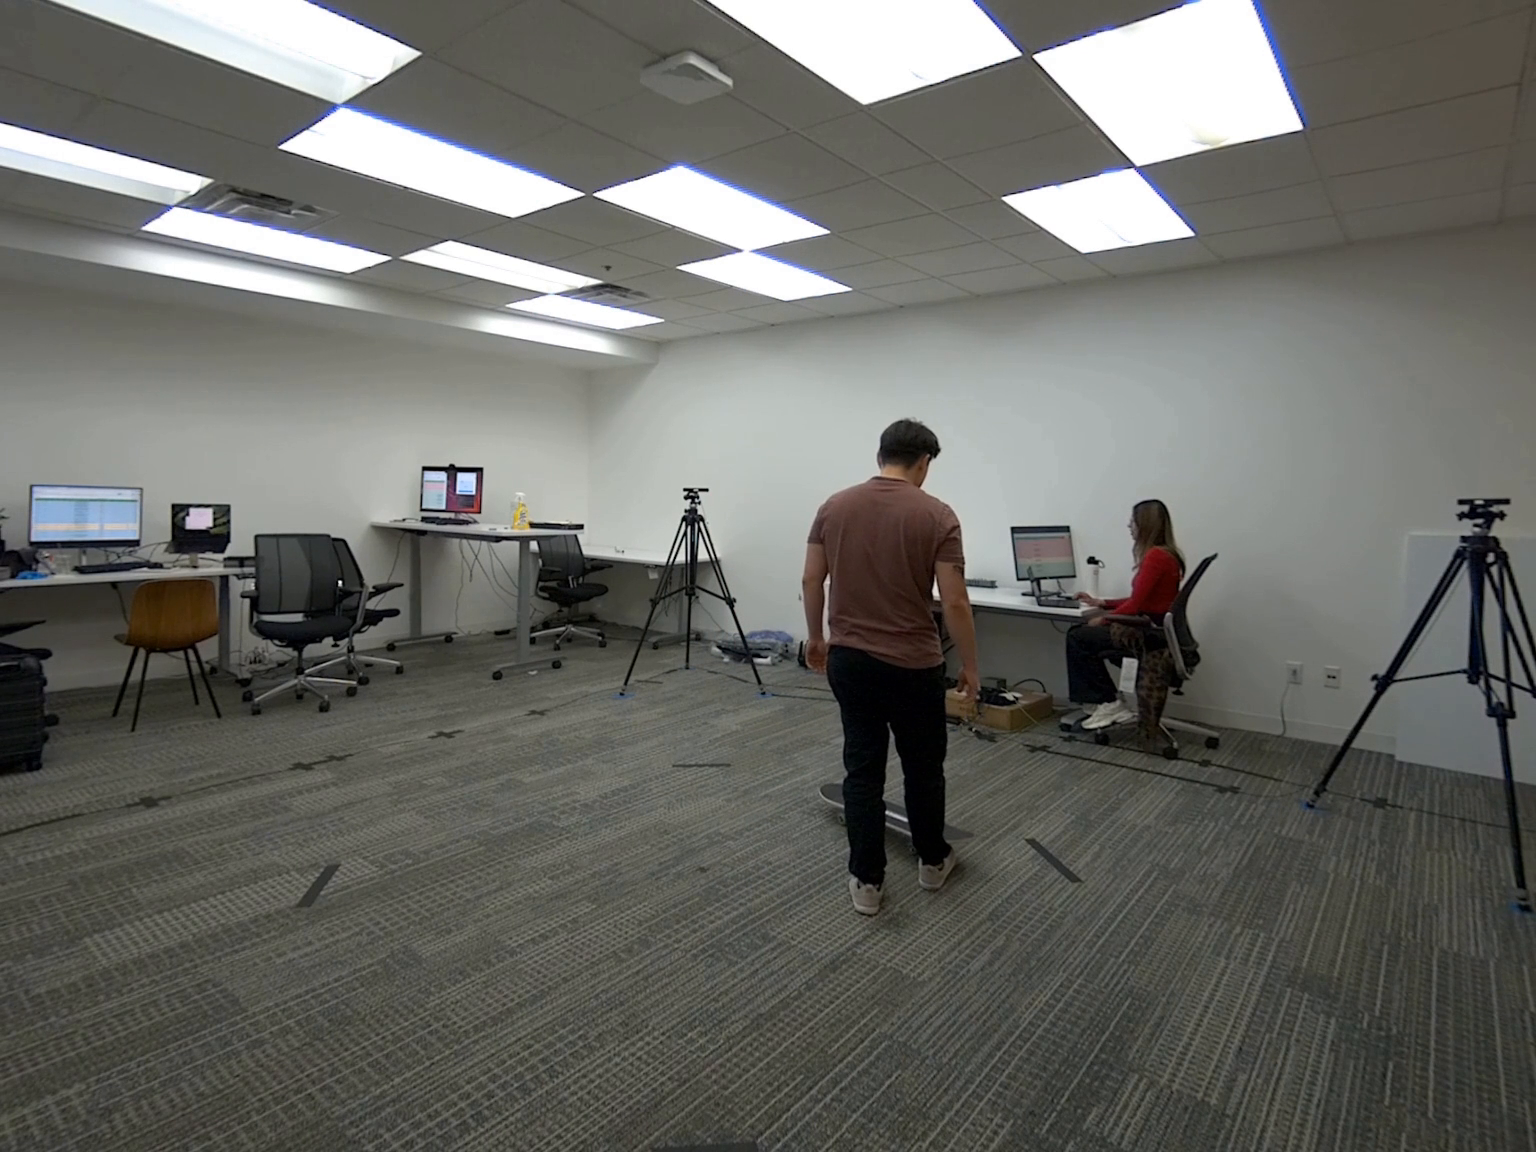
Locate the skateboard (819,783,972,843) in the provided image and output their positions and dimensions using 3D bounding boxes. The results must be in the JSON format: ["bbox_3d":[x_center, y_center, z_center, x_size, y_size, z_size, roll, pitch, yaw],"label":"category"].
[{"bbox_3d":[0.486,0.983,3.429,0.188,0.110,0.810,-3,5,-35],"label":"skateboard"}]
